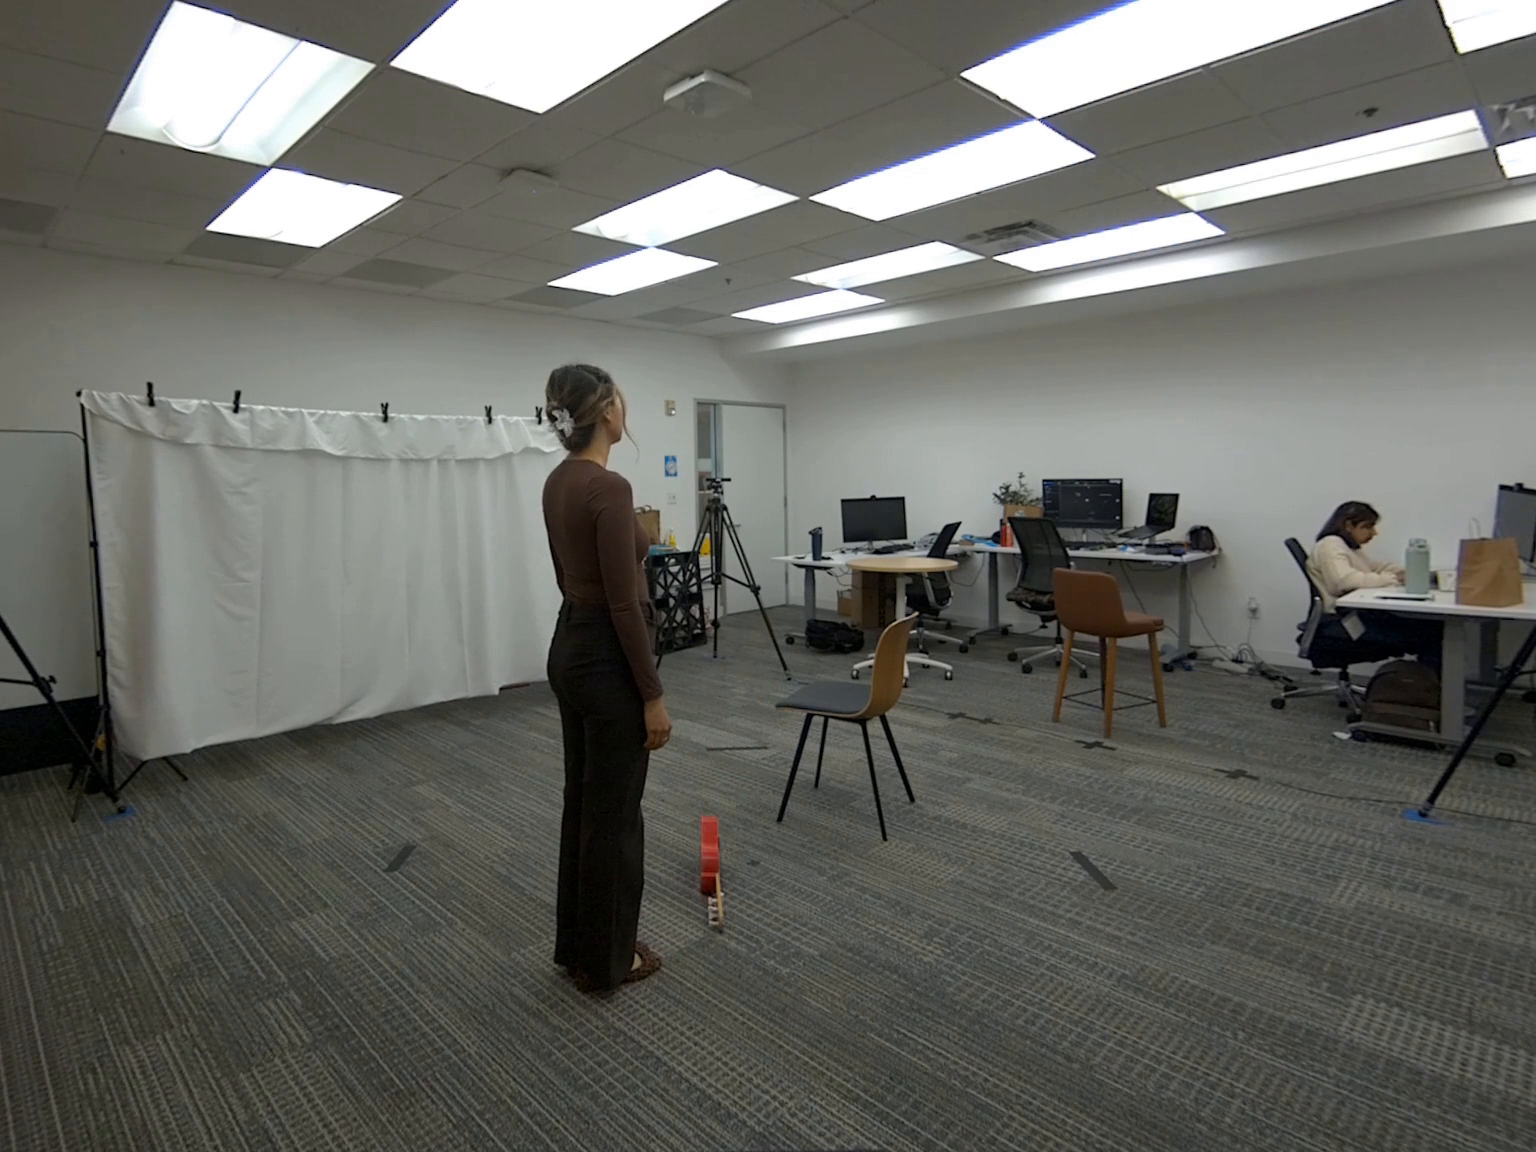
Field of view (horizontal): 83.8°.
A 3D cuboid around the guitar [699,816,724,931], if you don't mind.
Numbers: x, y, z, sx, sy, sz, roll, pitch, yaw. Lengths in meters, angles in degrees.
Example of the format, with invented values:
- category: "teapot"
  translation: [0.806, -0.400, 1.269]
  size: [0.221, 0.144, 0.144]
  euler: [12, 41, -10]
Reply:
- category: "guitar"
  translation: [-0.184, 0.981, 2.862]
  size: [0.070, 0.192, 0.502]
  euler: [2, 6, -7]
